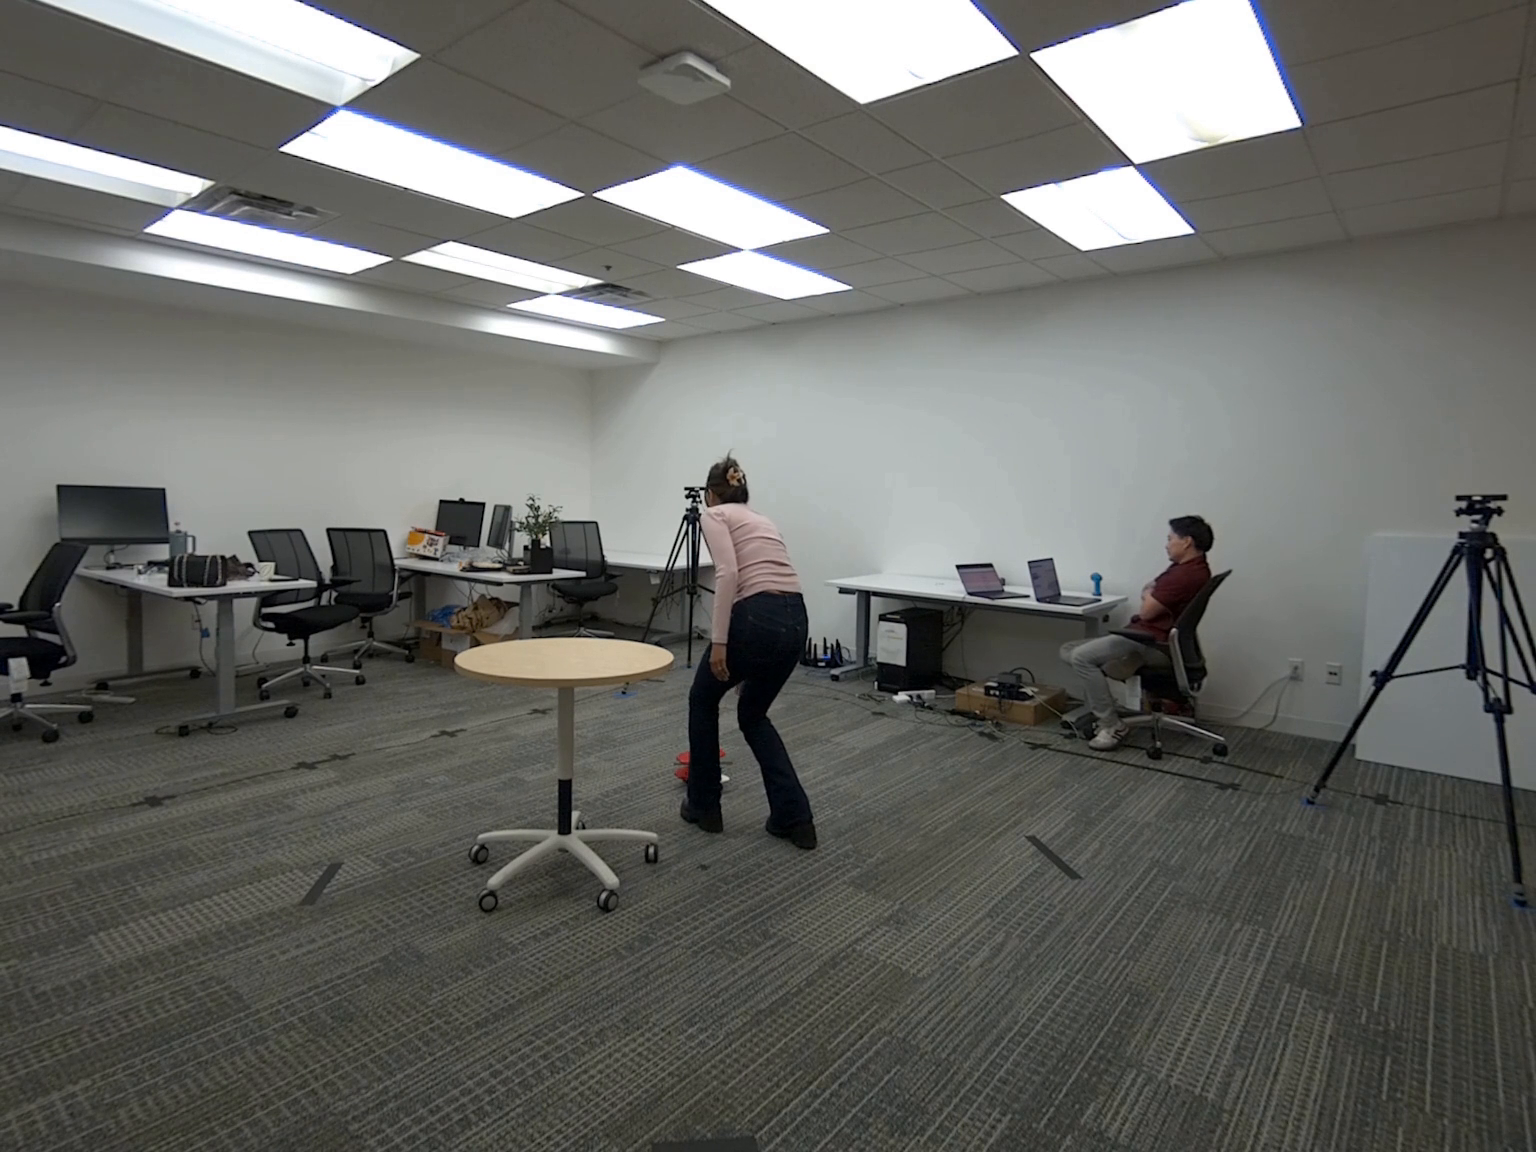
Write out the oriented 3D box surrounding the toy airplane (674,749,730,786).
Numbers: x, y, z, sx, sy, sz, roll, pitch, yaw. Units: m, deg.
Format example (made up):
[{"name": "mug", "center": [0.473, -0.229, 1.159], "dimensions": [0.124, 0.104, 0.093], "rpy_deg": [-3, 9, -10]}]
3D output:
[{"name": "toy airplane", "center": [-0.300, 0.900, 3.986], "dimensions": [0.265, 0.156, 0.246], "rpy_deg": [1, 5, 24]}]
